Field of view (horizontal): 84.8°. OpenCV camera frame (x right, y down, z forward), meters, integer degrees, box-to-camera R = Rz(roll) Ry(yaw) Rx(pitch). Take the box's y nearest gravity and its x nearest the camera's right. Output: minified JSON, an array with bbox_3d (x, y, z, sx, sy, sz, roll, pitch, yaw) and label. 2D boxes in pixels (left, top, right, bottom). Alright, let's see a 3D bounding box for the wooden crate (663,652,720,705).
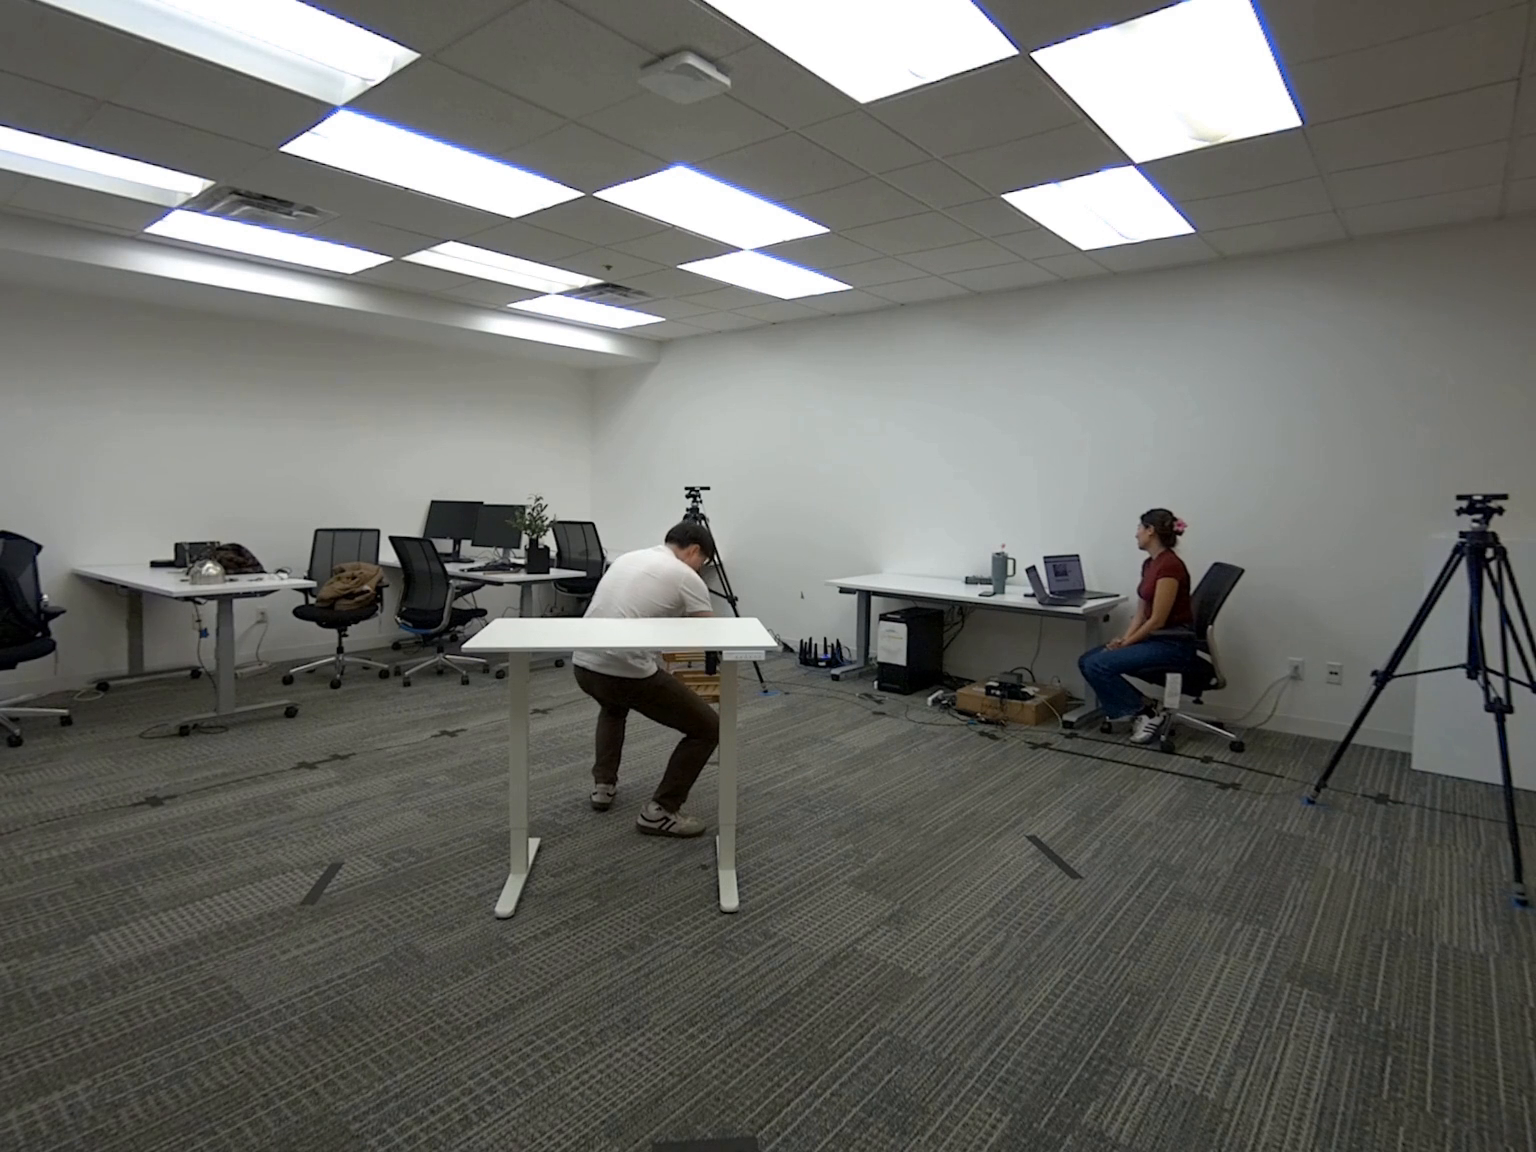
[{"bbox_3d":[-0.342,0.422,3.911,0.328,0.271,0.301,-3,8,10],"label":"wooden crate"}]
